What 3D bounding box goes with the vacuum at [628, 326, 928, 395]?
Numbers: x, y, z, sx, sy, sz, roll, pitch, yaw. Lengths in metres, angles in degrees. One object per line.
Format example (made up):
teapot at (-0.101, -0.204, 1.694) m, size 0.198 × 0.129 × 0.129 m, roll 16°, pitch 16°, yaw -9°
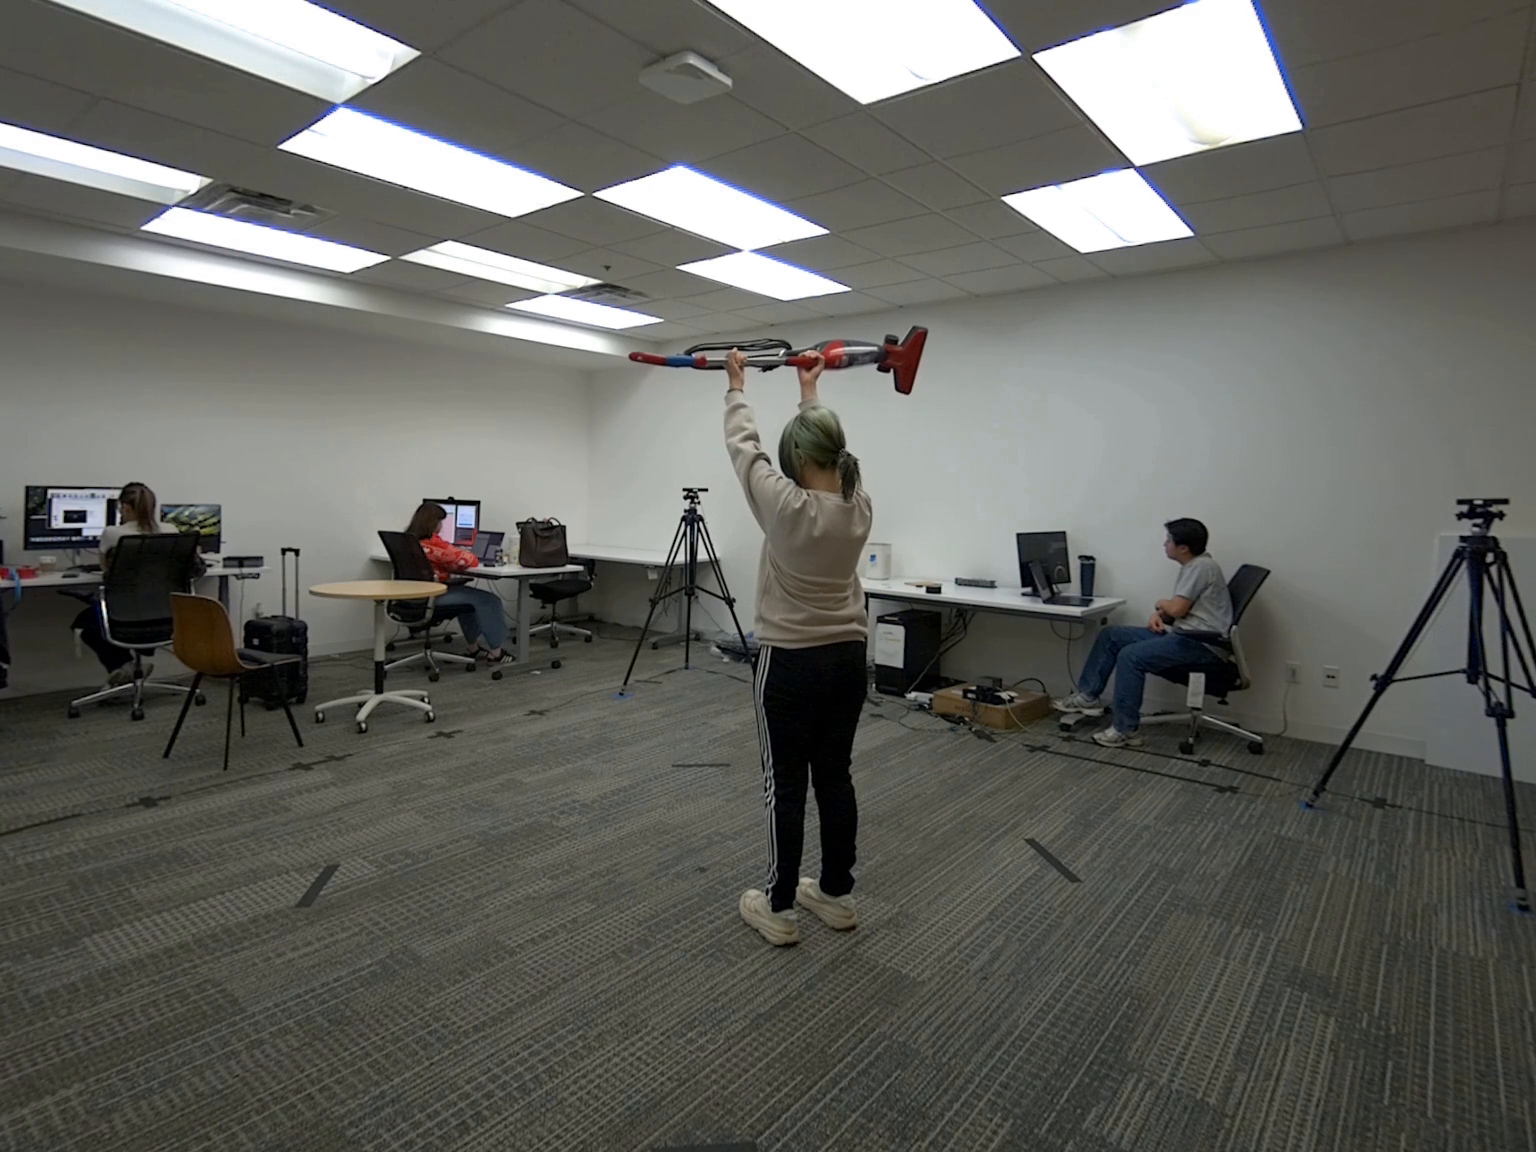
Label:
vacuum at (0.032, -0.751, 2.907) m, size 1.027 × 0.247 × 0.150 m, roll -6°, pitch 34°, yaw -24°
